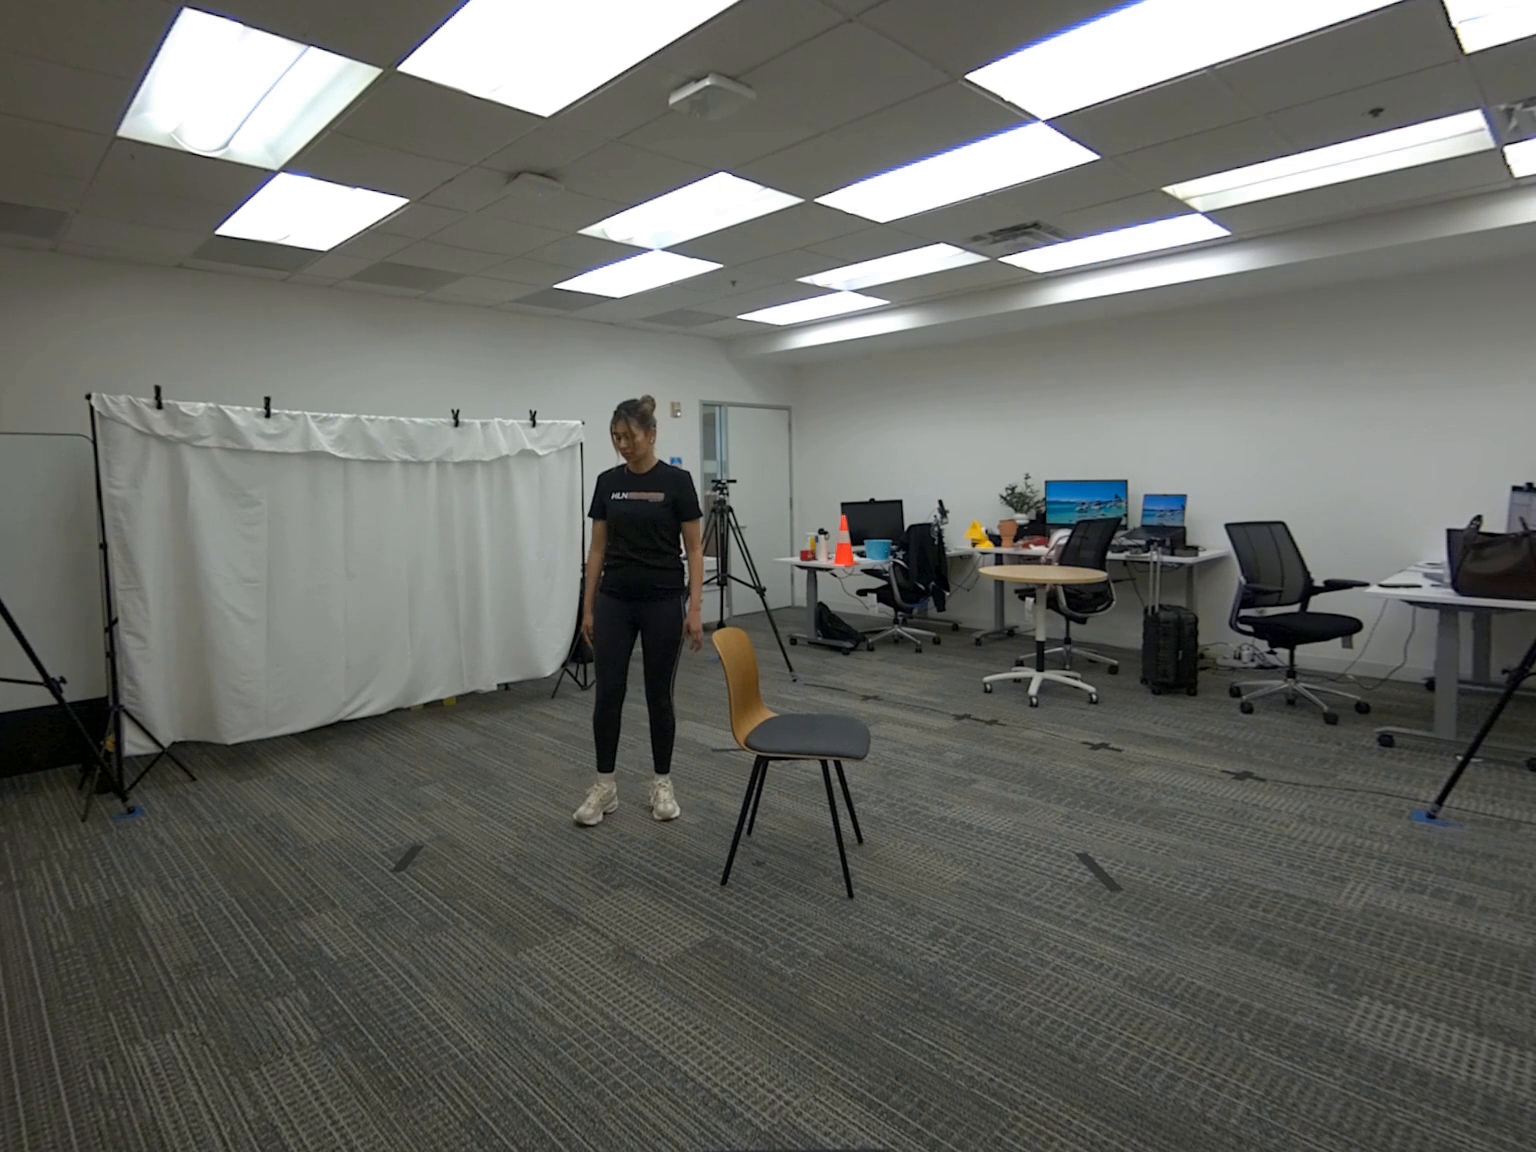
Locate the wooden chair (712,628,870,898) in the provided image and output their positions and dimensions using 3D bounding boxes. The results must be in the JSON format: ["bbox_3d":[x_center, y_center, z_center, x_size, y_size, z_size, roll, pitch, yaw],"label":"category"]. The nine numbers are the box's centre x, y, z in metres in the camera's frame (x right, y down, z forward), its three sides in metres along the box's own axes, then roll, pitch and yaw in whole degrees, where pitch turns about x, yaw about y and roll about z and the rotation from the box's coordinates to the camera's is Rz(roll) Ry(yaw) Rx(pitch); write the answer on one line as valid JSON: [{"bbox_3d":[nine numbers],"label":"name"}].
[{"bbox_3d":[0.106,0.619,3.074,0.530,0.875,0.473,-4,3,13],"label":"wooden chair"}]
